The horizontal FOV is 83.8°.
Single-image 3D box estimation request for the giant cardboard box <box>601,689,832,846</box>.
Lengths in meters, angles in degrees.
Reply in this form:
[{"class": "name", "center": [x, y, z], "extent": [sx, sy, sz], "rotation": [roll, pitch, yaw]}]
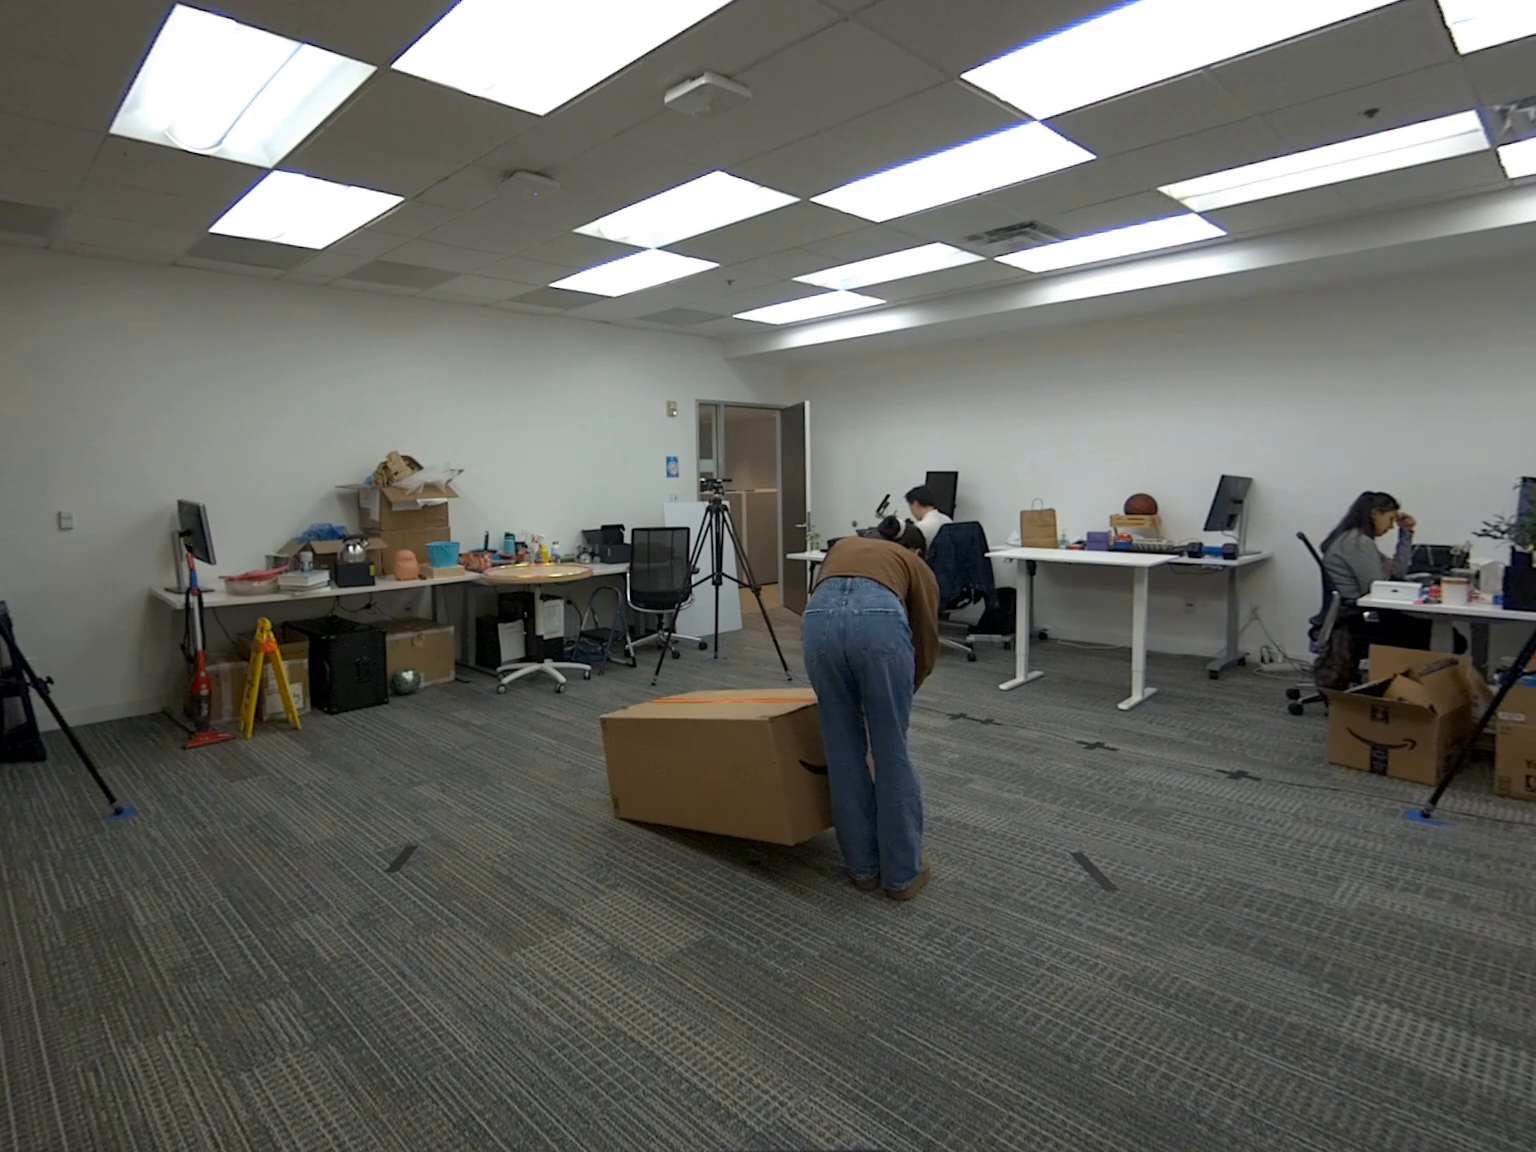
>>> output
[{"class": "giant cardboard box", "center": [-0.128, 0.715, 3.405], "extent": [0.569, 0.447, 1.051], "rotation": [-9, 0, -44]}]
